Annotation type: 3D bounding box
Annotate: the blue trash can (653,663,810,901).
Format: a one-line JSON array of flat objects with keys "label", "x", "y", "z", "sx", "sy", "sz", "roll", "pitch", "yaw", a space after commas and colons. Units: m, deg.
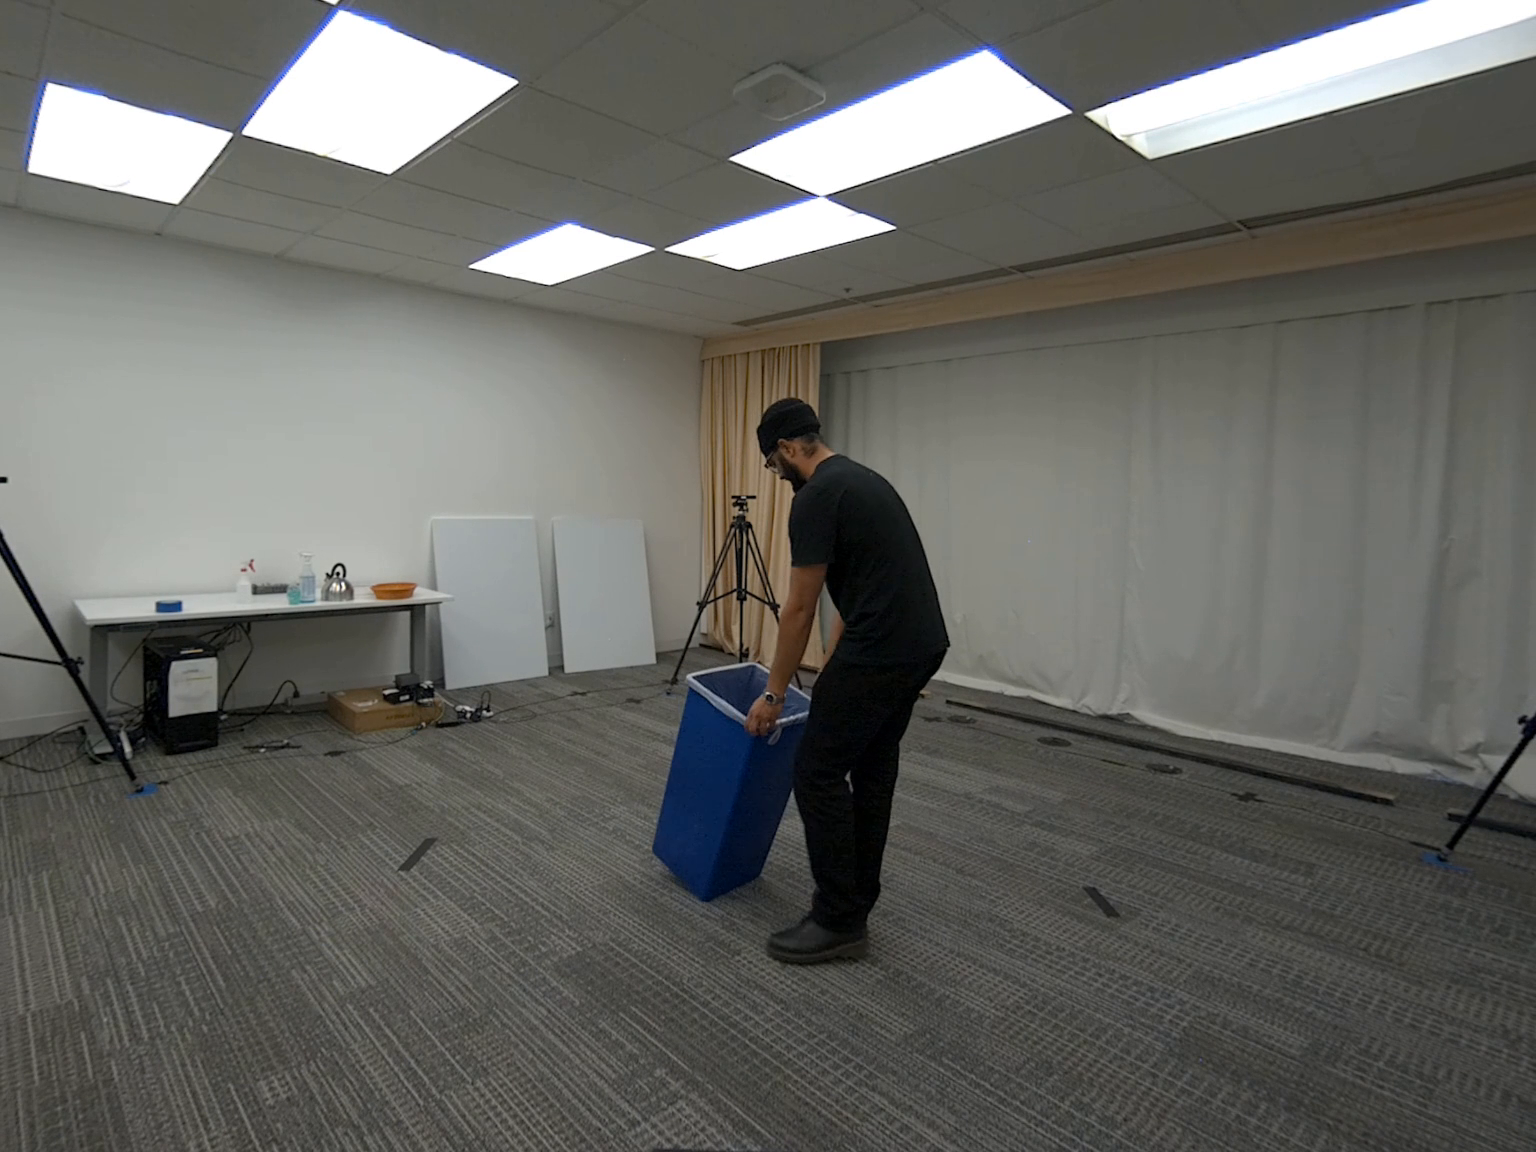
[{"label": "blue trash can", "x": -0.129, "y": 0.730, "z": 2.981, "sx": 0.385, "sy": 0.708, "sz": 0.370, "roll": 27, "pitch": 20, "yaw": 36}]
